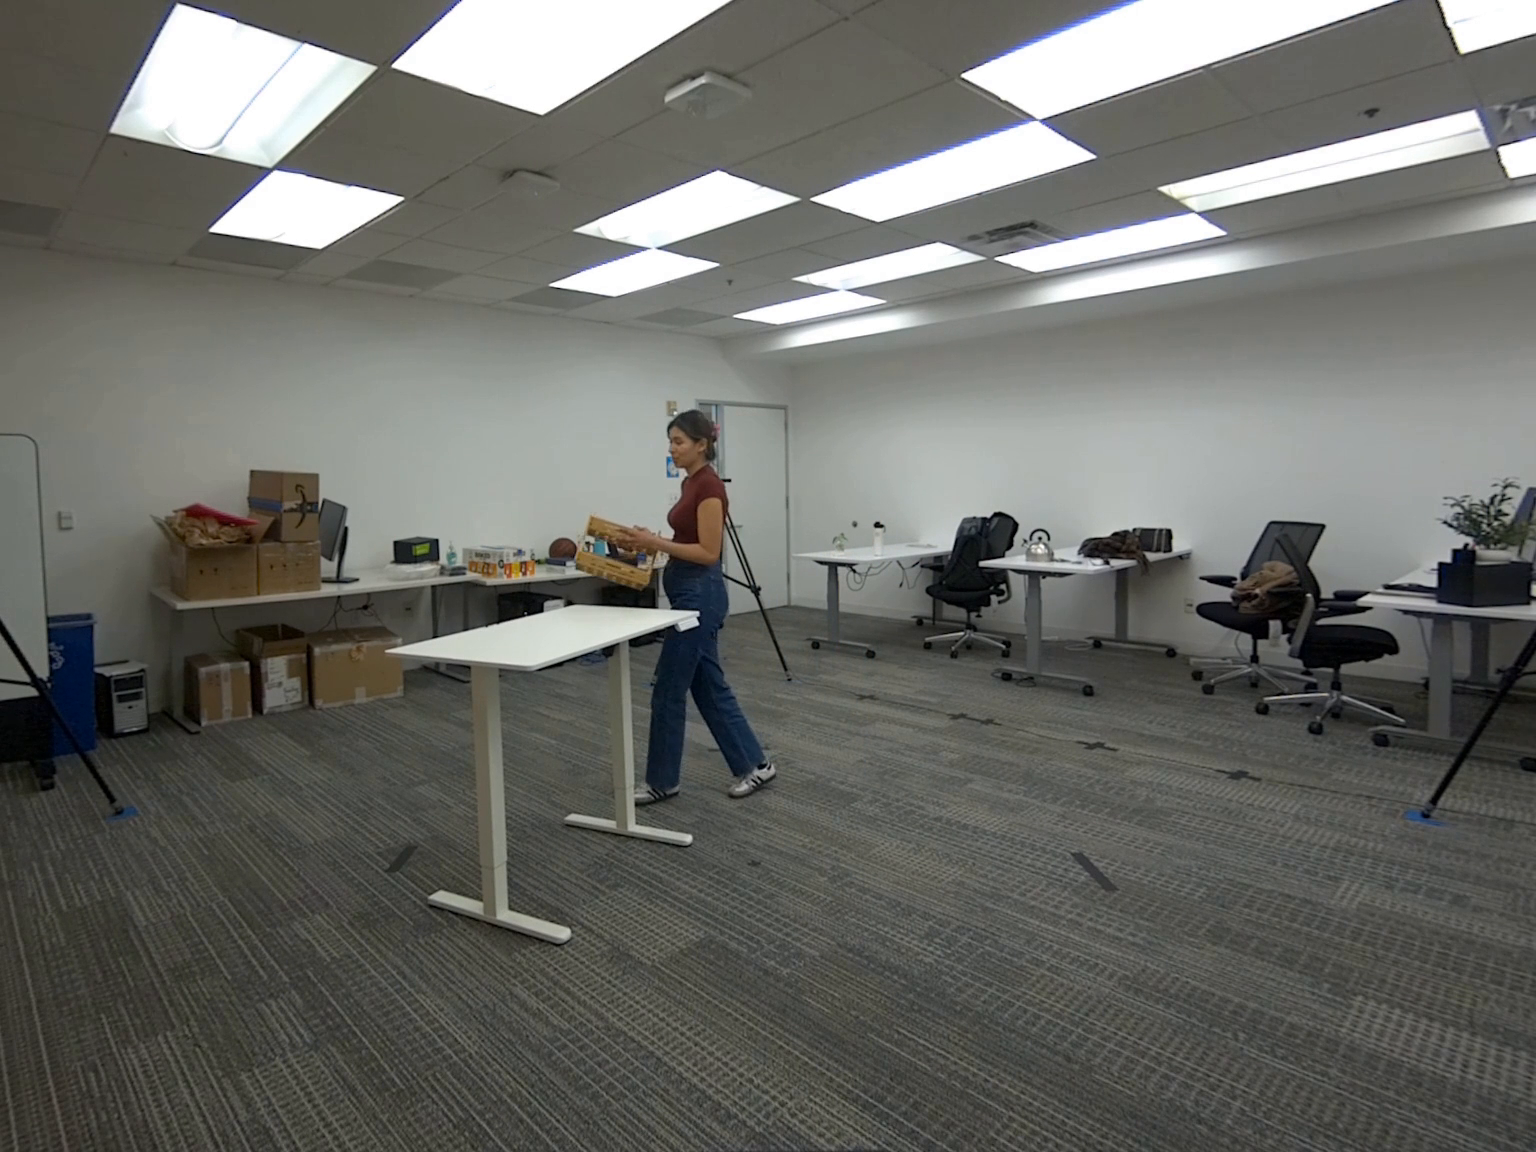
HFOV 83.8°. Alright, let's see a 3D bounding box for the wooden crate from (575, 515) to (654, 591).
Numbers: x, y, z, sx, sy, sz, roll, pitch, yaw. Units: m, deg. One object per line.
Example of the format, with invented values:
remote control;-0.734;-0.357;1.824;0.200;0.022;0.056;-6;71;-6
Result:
wooden crate;-0.638;-0.123;3.655;0.321;0.275;0.303;19;-13;-10
